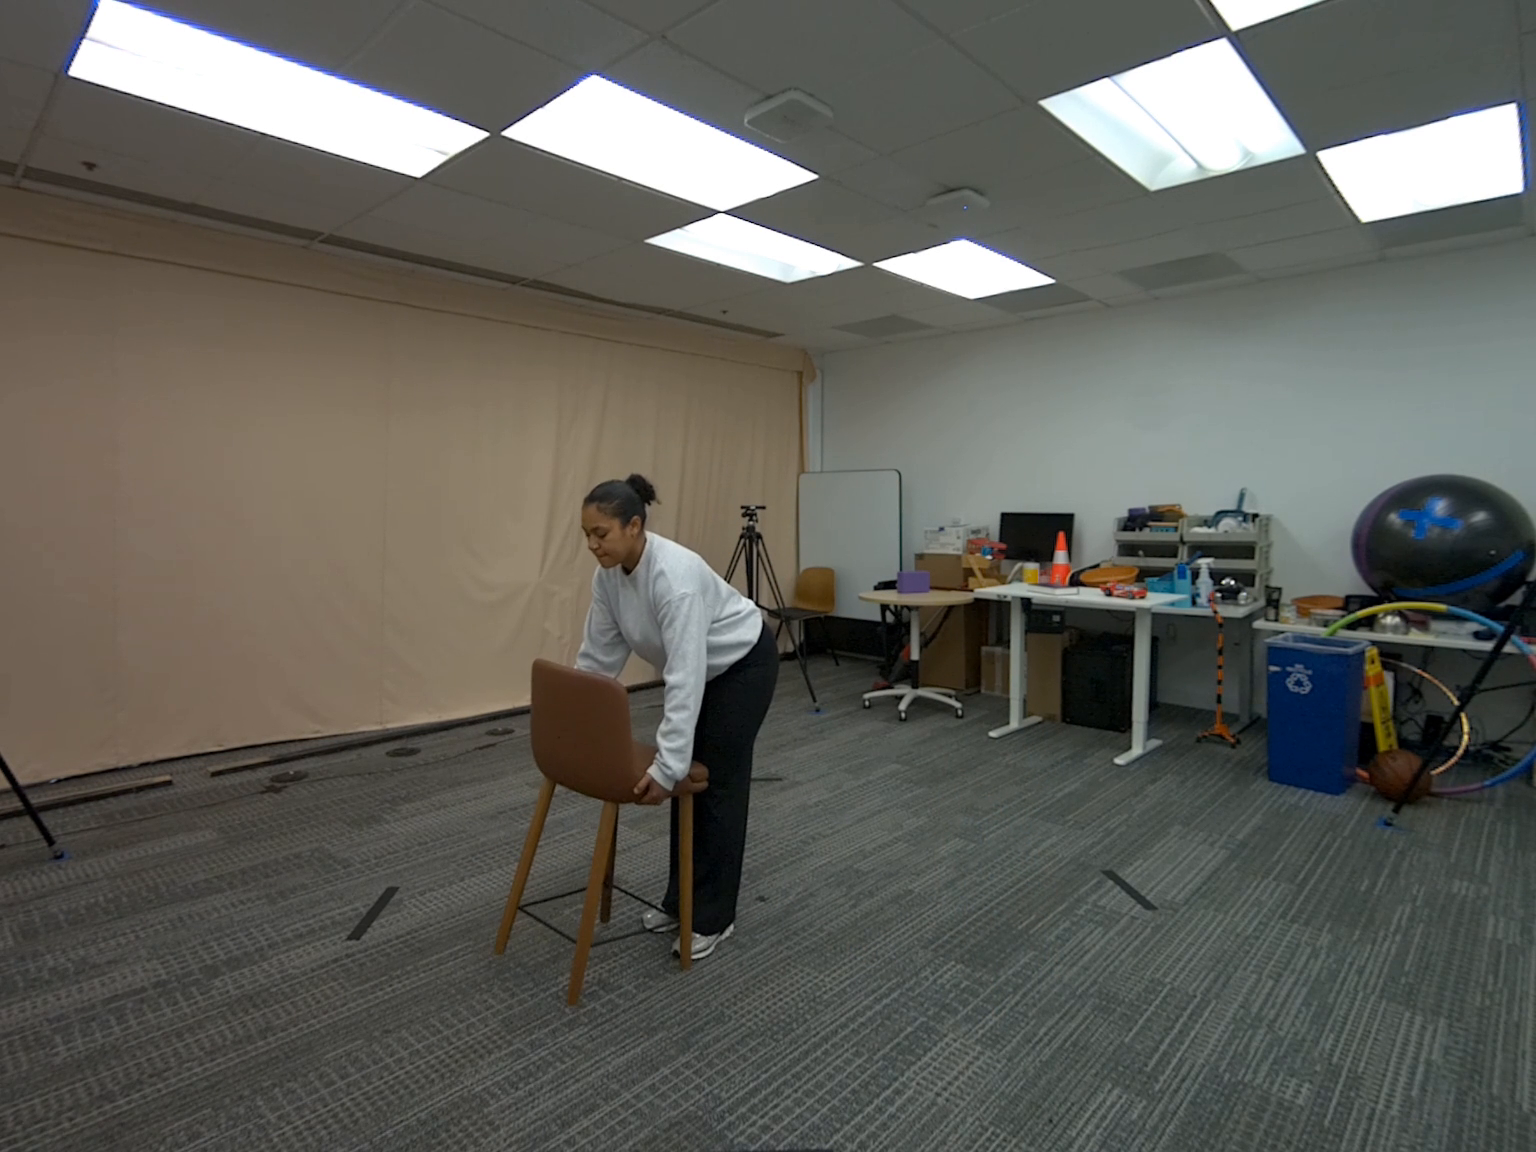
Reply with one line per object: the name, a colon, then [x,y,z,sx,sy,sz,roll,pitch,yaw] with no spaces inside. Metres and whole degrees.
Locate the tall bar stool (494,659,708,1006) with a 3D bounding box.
tall bar stool: [-0.480,0.710,2.514,0.472,0.890,0.452,4,-2,41]
